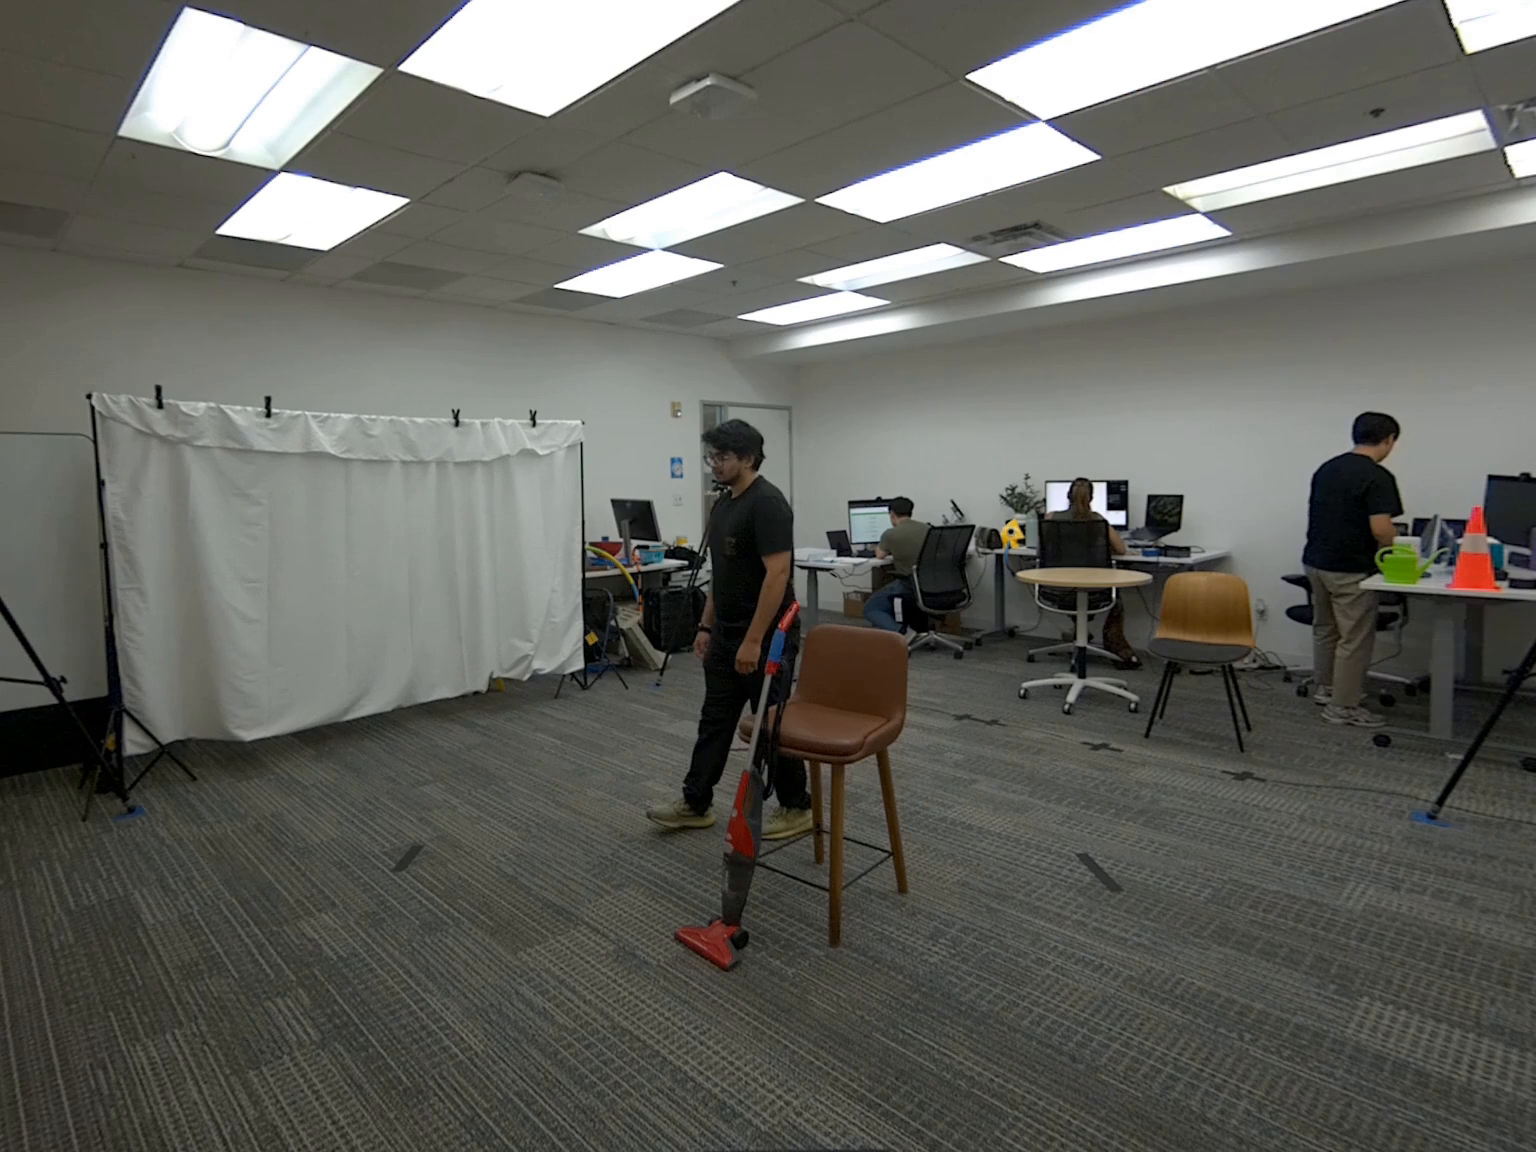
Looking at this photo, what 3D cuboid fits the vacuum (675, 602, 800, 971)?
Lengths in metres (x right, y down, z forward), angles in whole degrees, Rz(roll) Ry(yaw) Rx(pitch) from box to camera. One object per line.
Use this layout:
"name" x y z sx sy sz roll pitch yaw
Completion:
"vacuum" -0.038 0.613 2.647 0.260 1.056 0.139 4 -12 41
